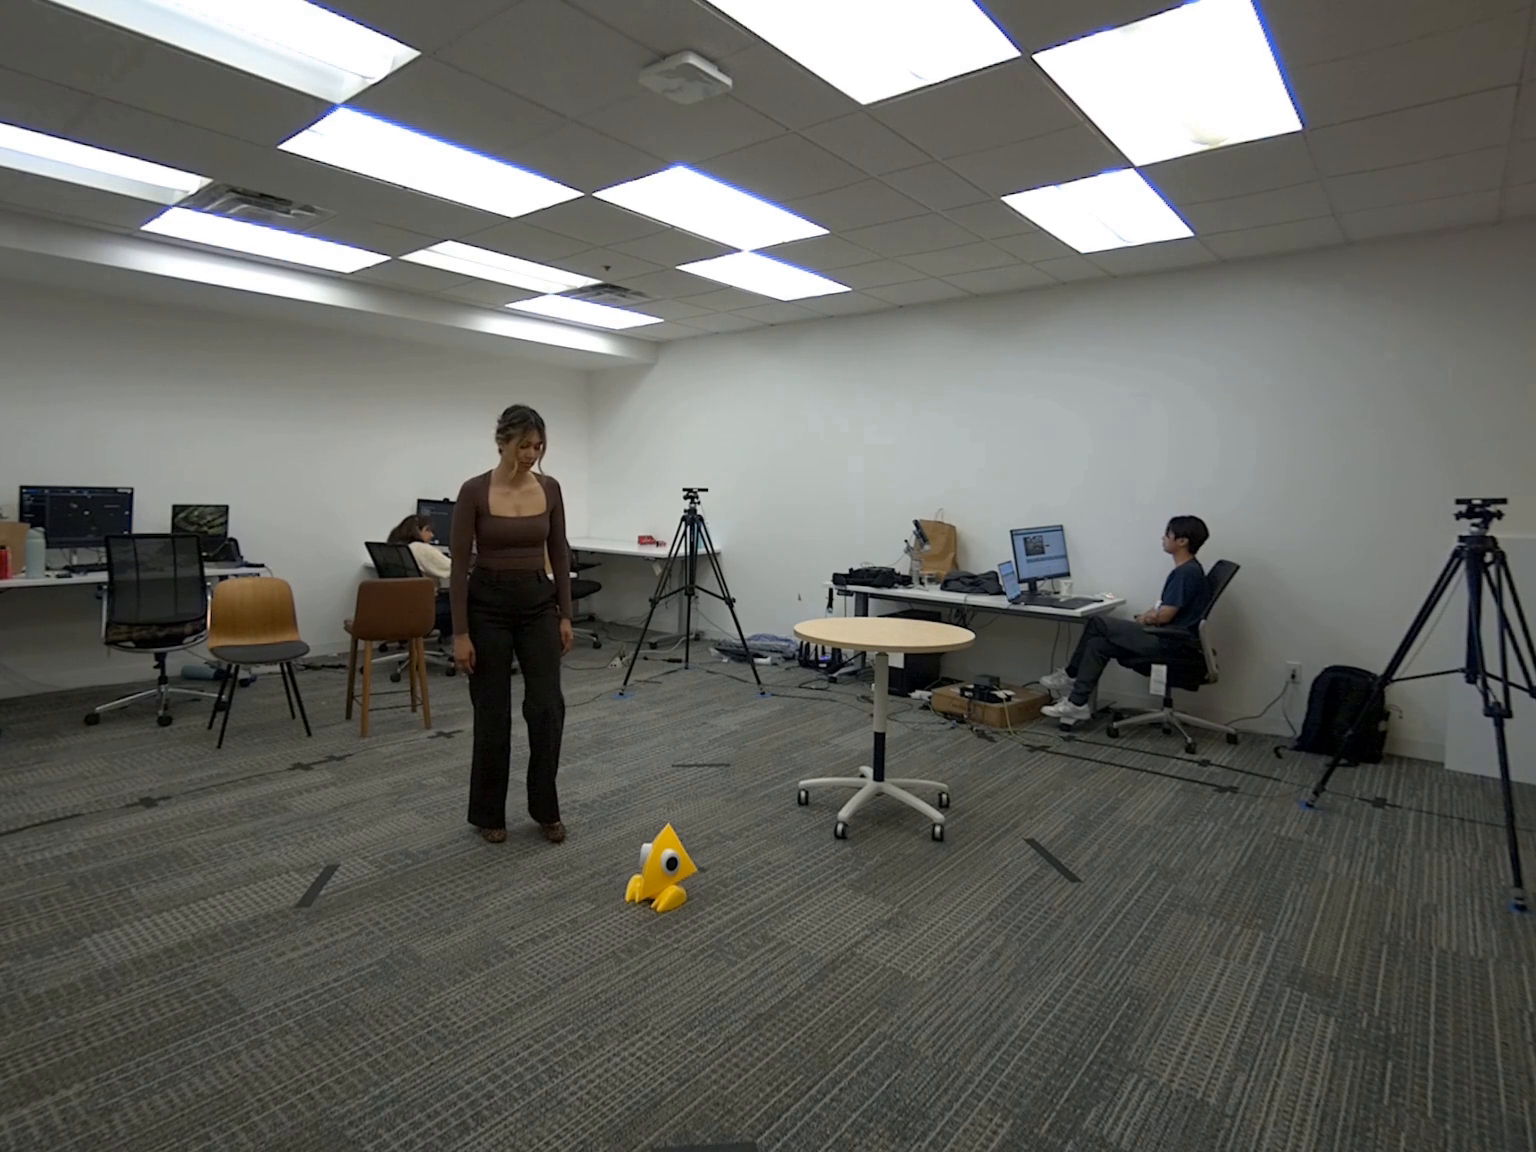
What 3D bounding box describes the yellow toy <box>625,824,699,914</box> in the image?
[{"bbox_3d":[-0.383,0.978,2.890,0.211,0.230,0.188,3,5,29],"label":"yellow toy"}]
